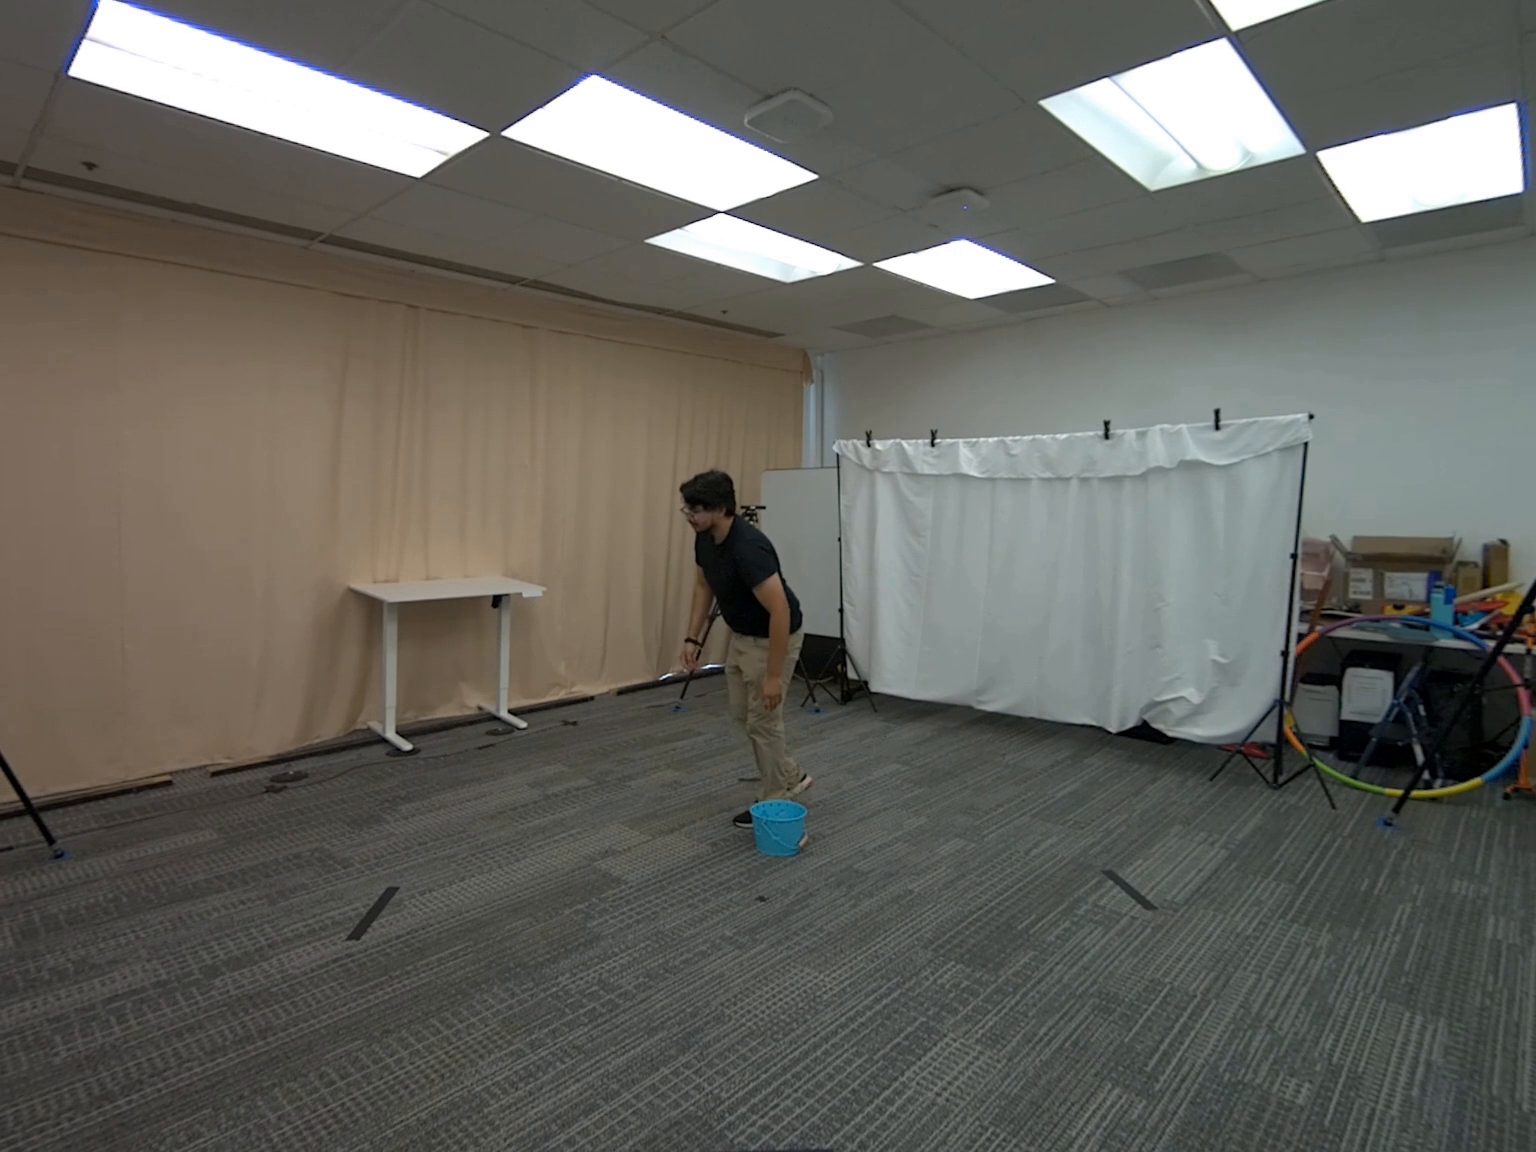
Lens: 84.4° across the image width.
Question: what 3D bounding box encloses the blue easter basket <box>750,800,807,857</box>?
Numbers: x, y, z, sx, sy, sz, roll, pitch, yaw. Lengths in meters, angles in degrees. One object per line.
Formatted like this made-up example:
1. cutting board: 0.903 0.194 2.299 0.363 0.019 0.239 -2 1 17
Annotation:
1. blue easter basket: 0.043 1.025 3.426 0.243 0.155 0.244 -1 4 -2
